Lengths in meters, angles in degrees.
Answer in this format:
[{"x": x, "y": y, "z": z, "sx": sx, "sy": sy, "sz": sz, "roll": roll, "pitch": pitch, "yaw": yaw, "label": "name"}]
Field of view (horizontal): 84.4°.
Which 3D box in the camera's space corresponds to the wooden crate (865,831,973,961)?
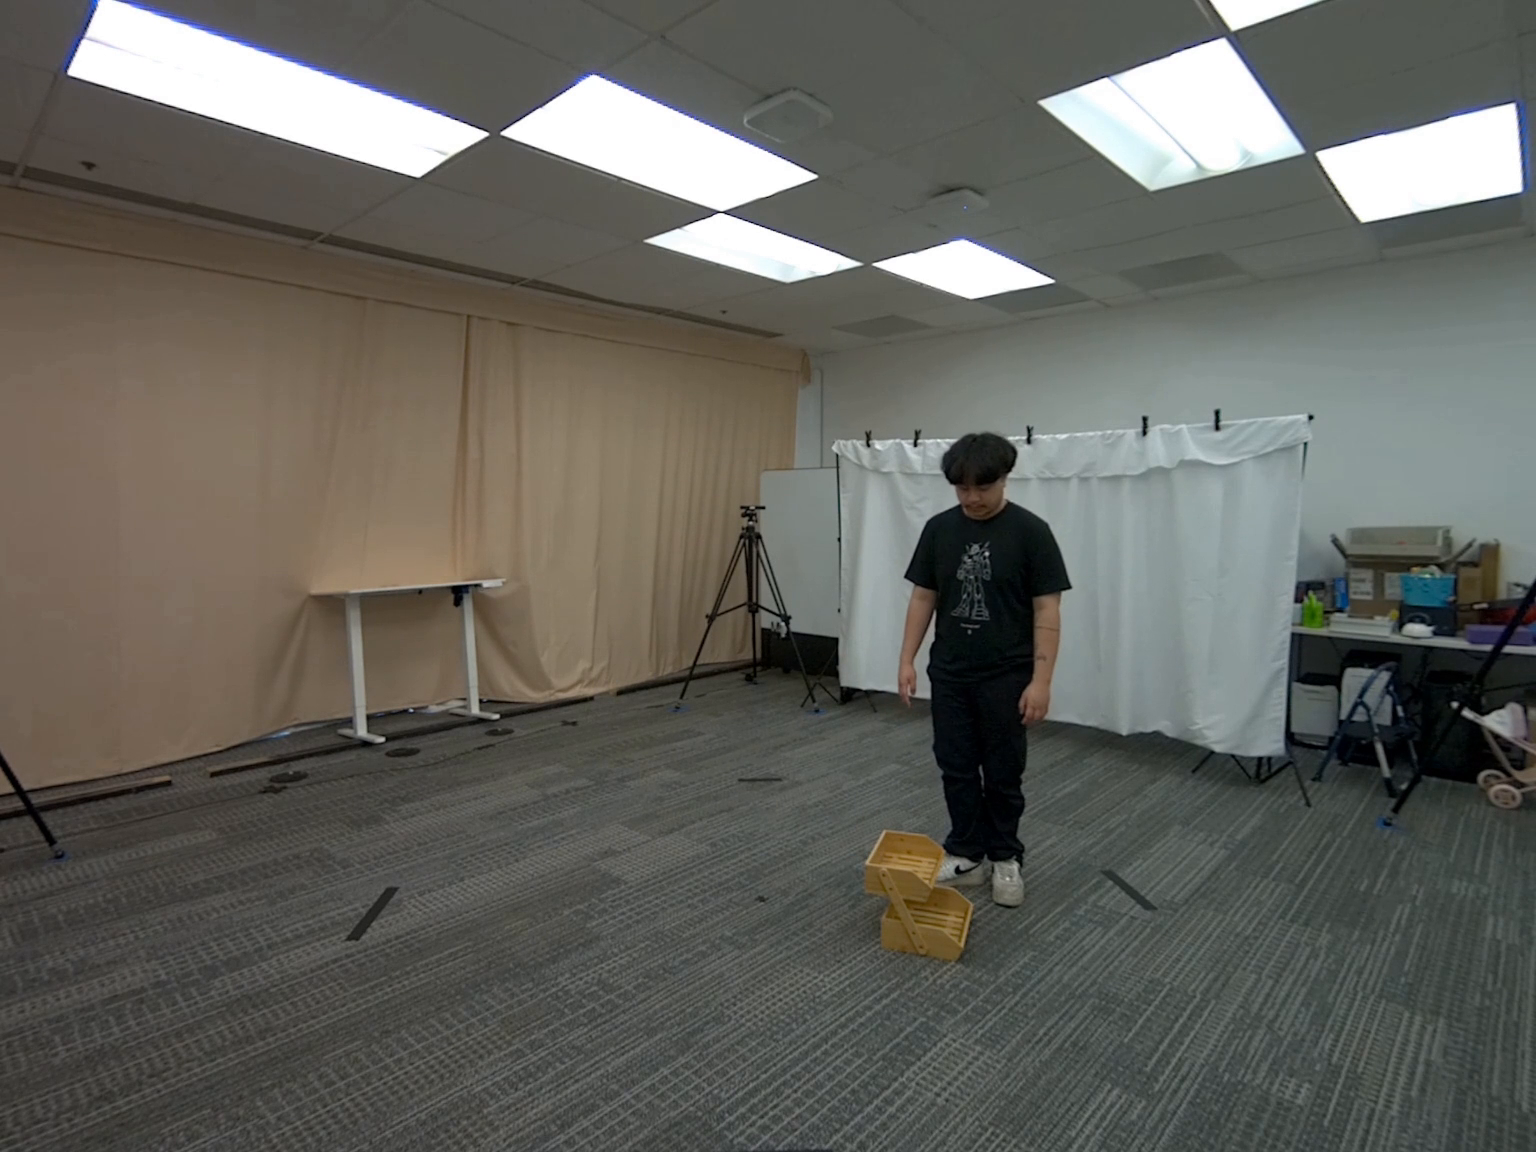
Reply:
[{"x": 0.511, "y": 1.033, "z": 2.743, "sx": 0.309, "sy": 0.273, "sz": 0.318, "roll": 1, "pitch": 4, "yaw": 21, "label": "wooden crate"}]
